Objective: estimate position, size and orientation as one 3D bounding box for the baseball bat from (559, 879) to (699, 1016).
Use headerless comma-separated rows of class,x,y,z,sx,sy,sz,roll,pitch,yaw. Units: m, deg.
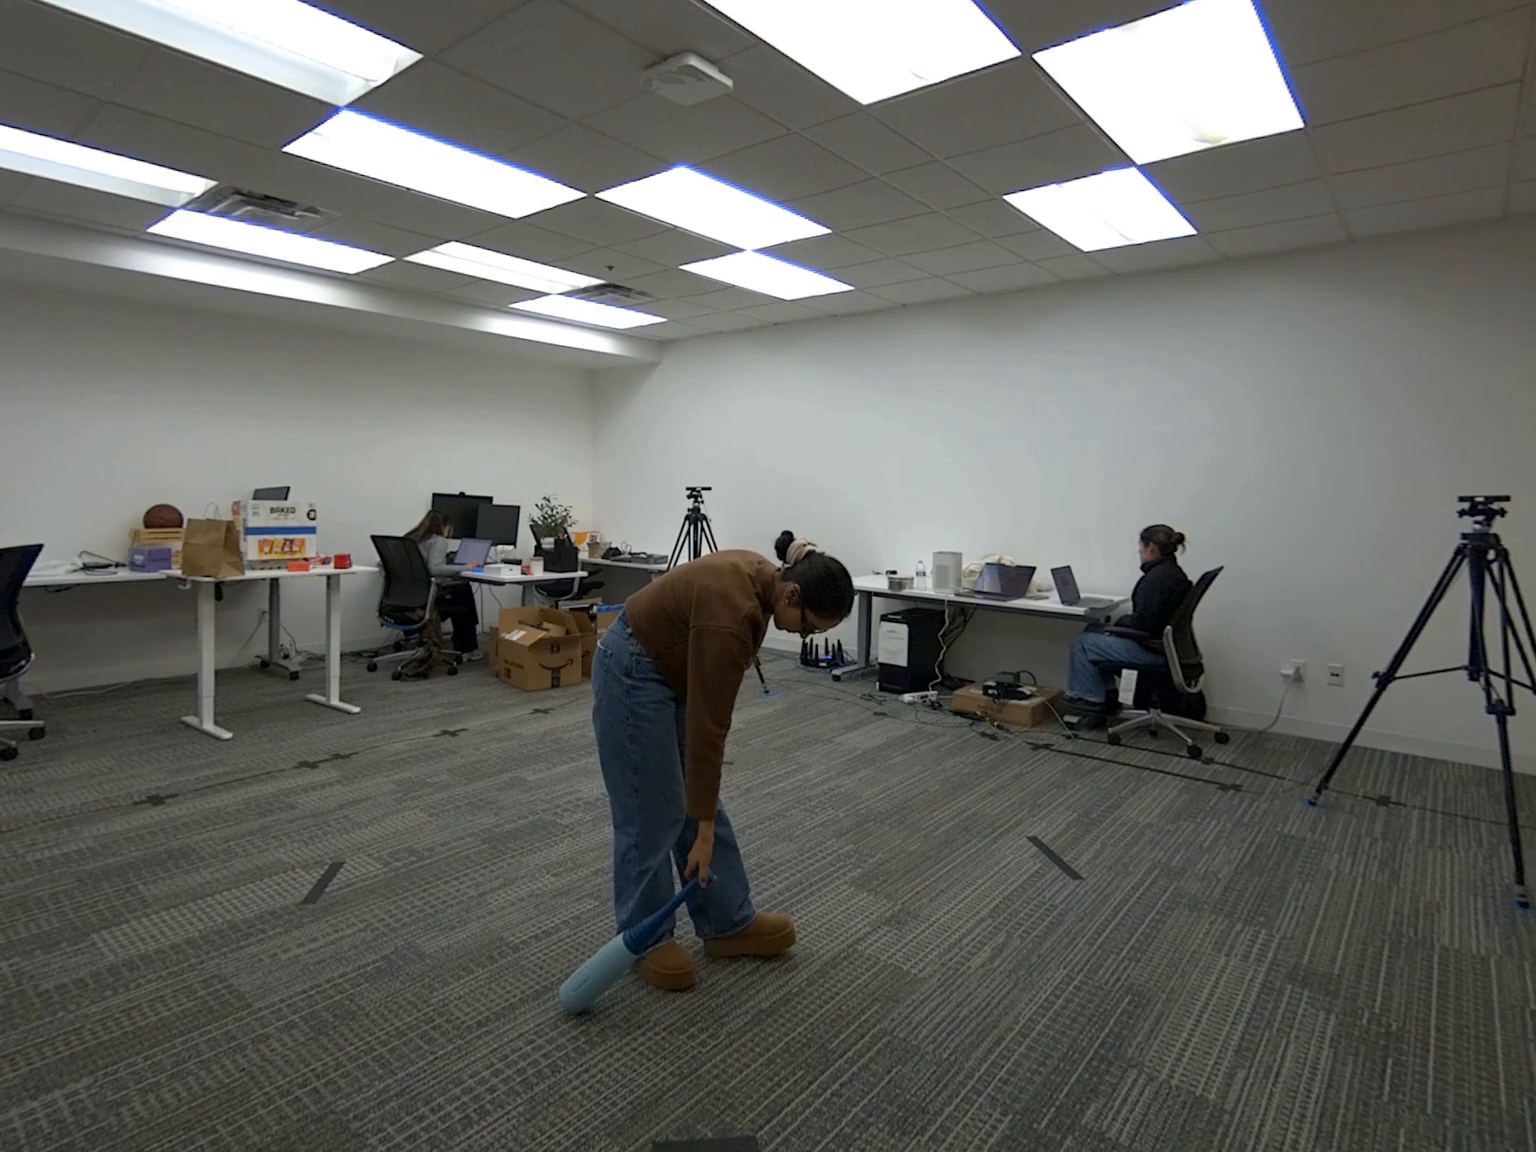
baseball bat,-0.350,0.943,2.204,0.087,0.543,0.090,44,11,-13
